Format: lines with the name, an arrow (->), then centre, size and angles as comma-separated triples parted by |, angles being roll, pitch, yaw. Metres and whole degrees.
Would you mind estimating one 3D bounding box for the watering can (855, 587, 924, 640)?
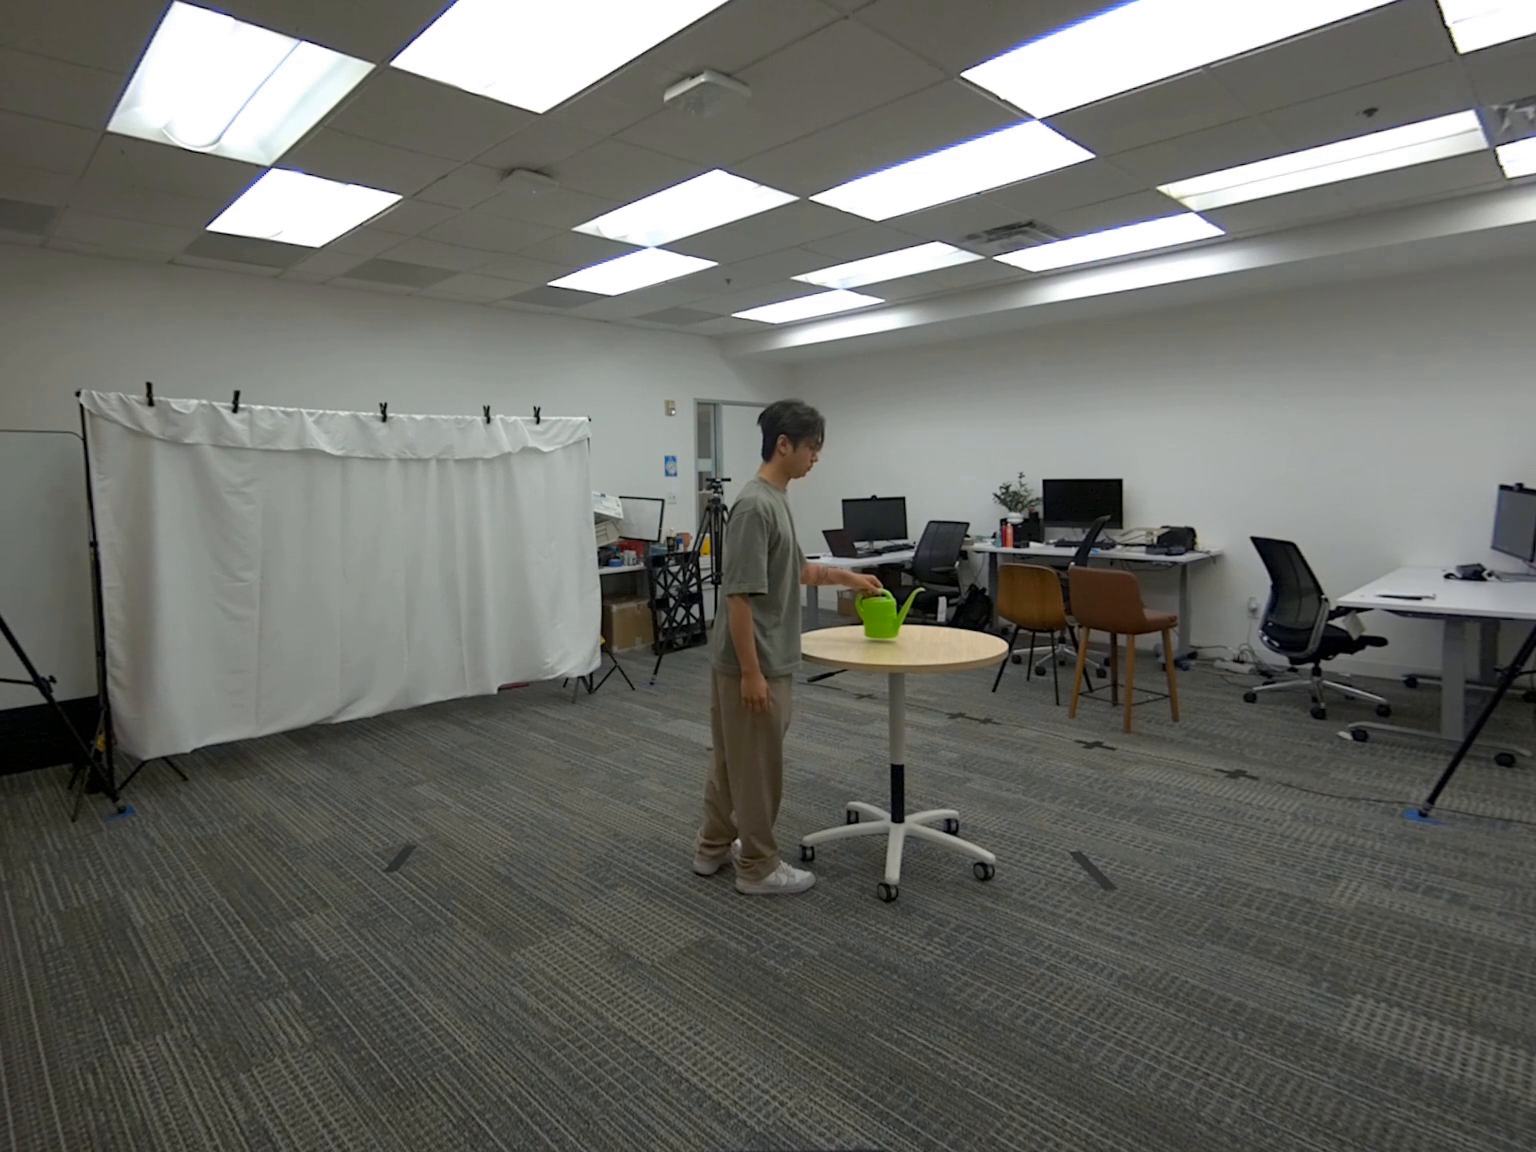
watering can -> 0.428, 0.133, 3.057 | 0.096, 0.176, 0.286 | -8, 6, -36
